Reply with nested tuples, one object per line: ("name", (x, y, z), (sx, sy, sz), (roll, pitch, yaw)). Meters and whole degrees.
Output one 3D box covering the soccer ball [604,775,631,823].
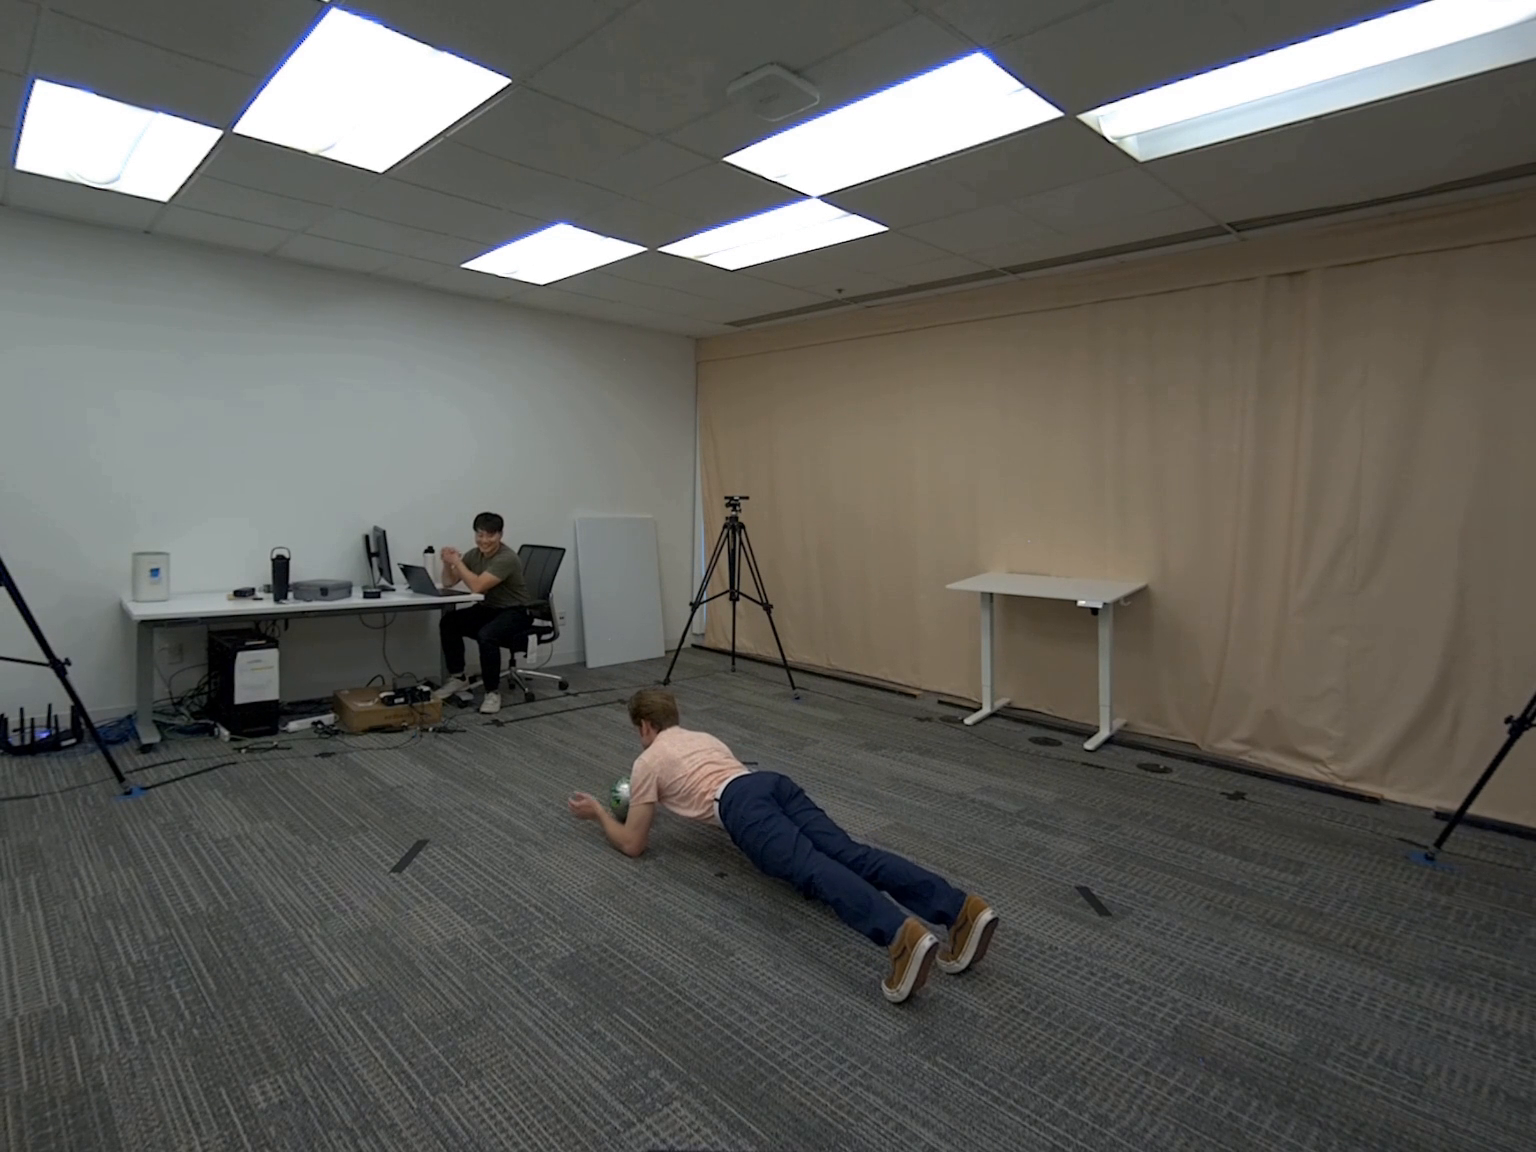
("soccer ball", (-0.591, 0.949, 3.607), (0.187, 0.187, 0.188), (1, 4, -1))
